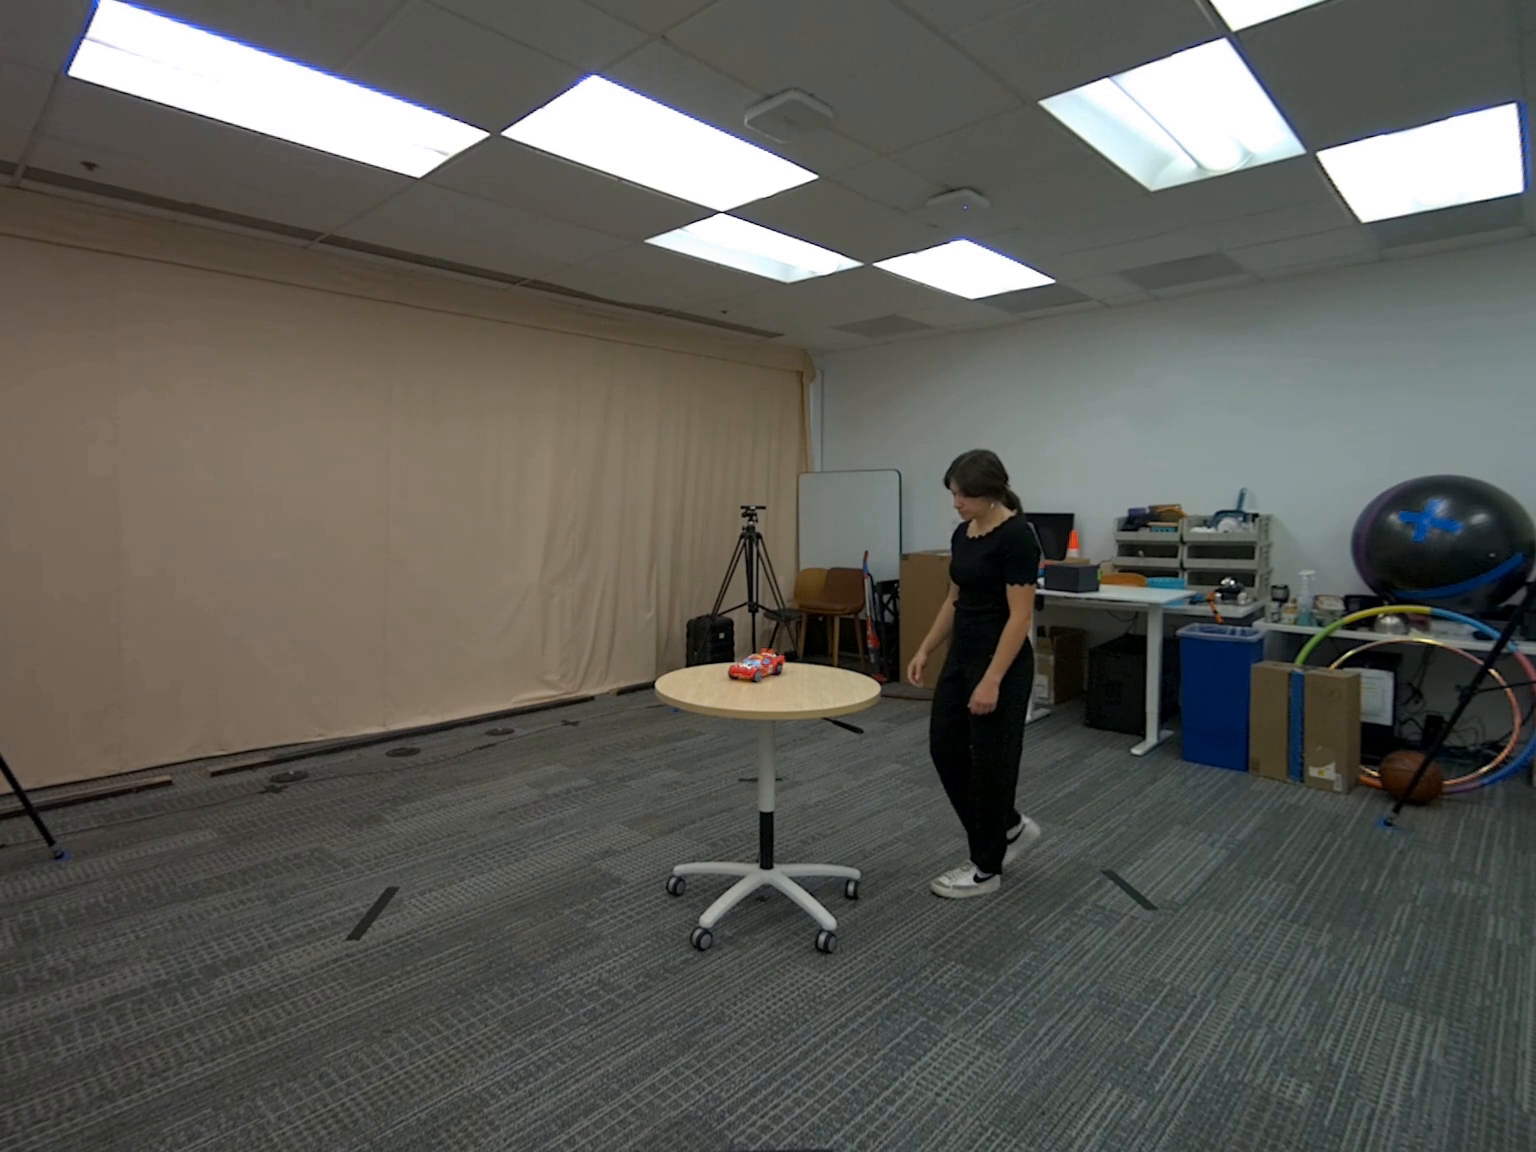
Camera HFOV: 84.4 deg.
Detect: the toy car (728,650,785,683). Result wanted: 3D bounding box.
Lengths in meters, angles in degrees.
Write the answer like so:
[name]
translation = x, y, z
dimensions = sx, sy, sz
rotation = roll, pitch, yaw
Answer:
[toy car]
translation = -0.029, 0.327, 3.007
dimensions = 0.134, 0.082, 0.249
rotation = 4, 17, 32
